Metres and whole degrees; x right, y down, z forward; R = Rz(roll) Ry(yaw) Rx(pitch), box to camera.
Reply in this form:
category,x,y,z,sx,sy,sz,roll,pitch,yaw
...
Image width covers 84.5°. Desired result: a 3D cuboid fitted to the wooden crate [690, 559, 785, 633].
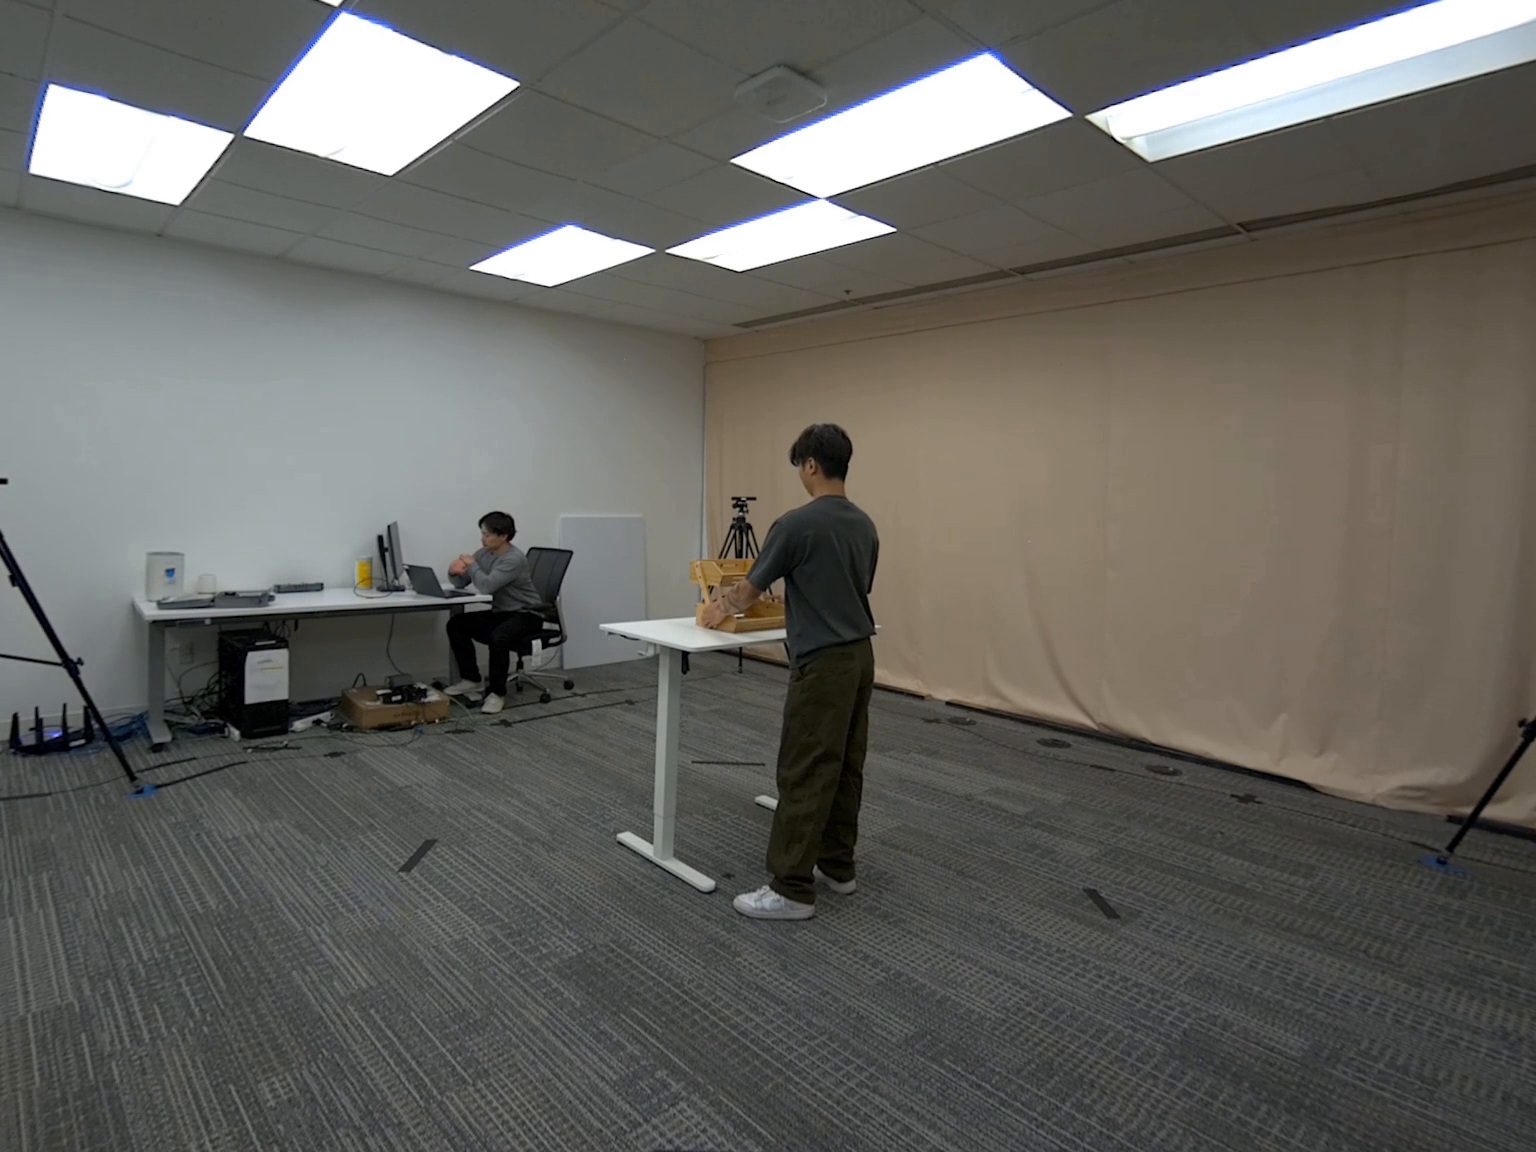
category,x,y,z,sx,sy,sz,roll,pitch,yaw
wooden crate,-0.115,0.069,3.377,0.317,0.273,0.310,-1,4,-42
